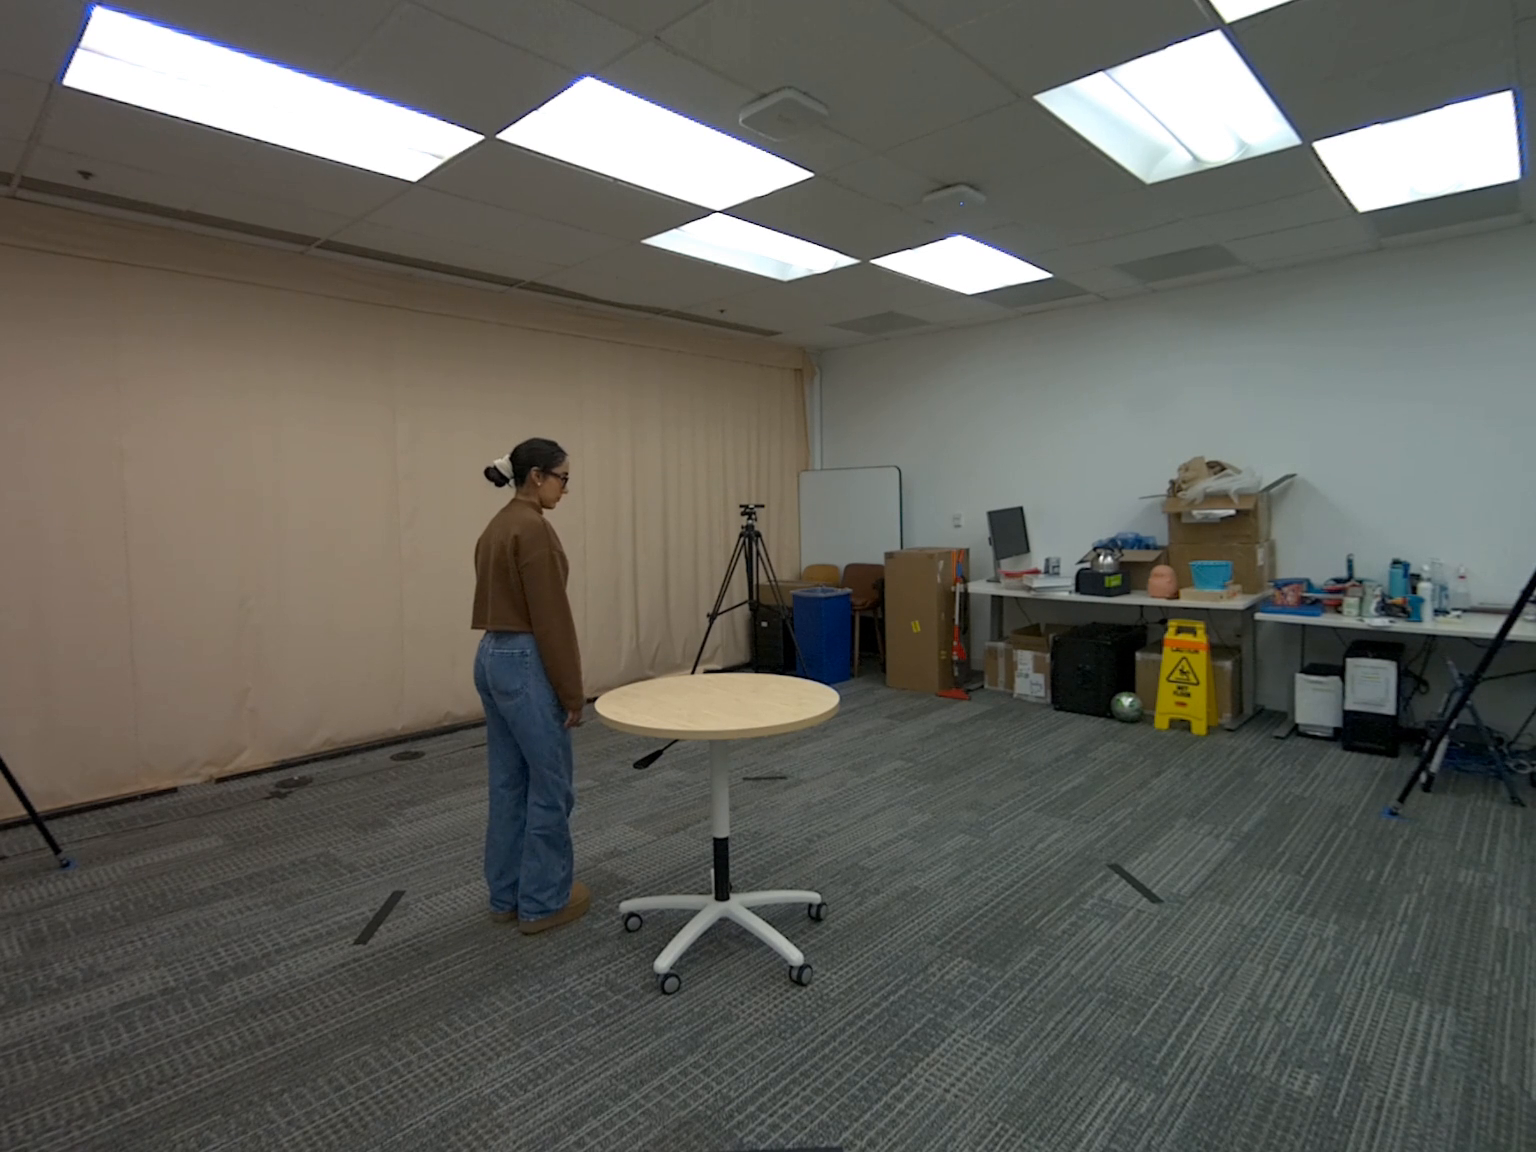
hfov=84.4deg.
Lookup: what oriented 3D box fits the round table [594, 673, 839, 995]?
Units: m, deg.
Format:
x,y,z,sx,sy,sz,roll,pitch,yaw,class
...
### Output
x,y,z,sx,sy,sz,roll,pitch,yaw,class
-0.144,0.782,2.661,0.763,0.792,0.767,-2,4,-2,round table
